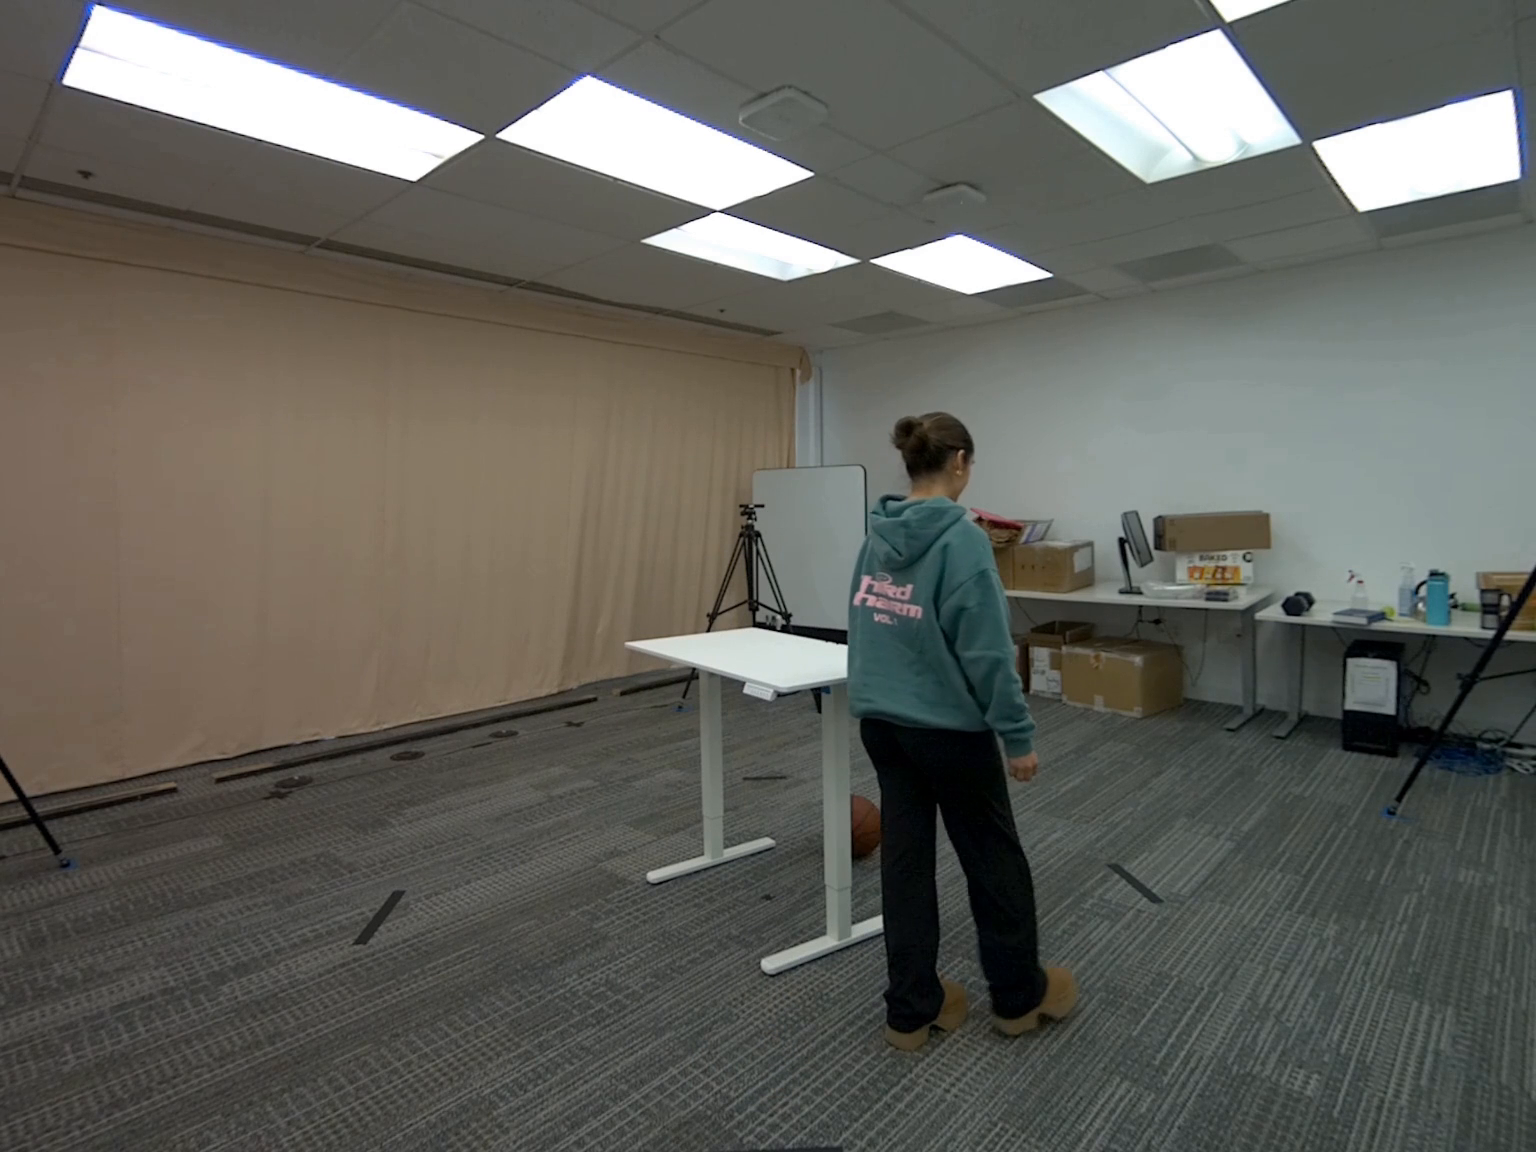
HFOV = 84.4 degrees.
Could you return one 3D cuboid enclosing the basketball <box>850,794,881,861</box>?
[{"bbox_3d":[0.351,0.989,3.327,0.236,0.235,0.237,-1,4,-2],"label":"basketball"}]
